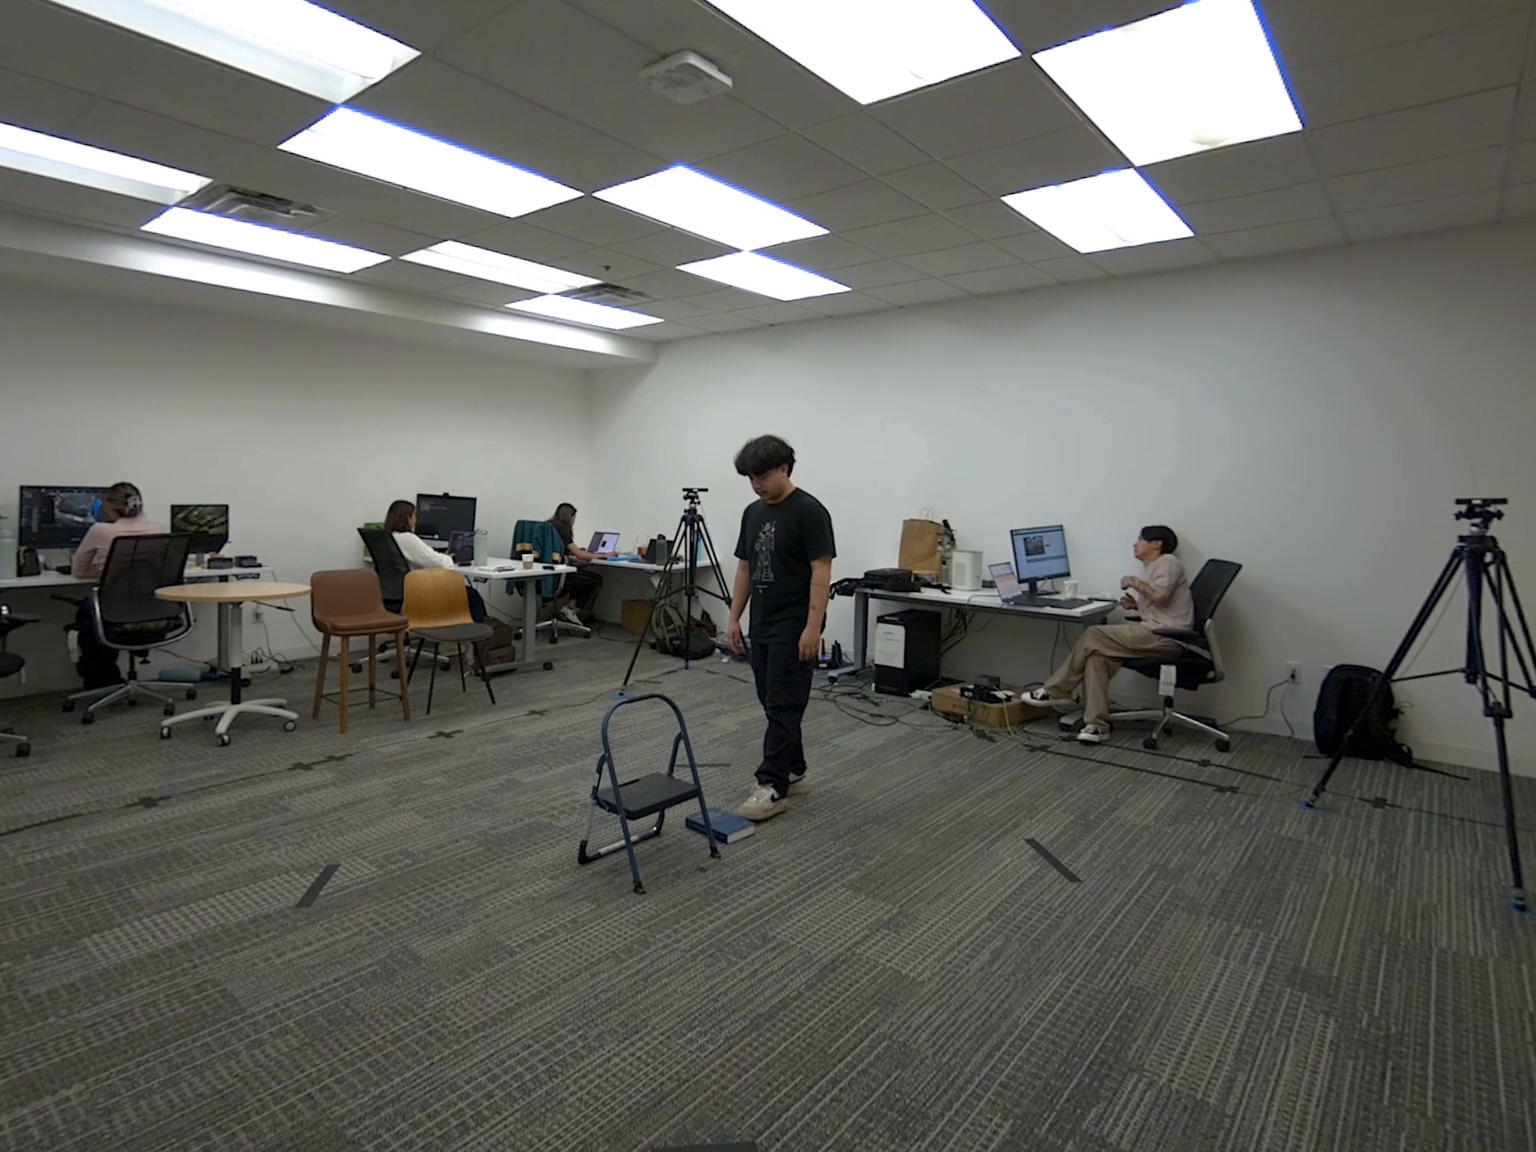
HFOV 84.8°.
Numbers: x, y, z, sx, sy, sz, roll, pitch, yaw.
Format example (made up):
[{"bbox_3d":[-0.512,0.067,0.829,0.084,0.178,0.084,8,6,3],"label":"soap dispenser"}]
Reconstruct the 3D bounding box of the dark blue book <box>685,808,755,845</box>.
[{"bbox_3d":[-0.205,1.014,3.470,0.253,0.045,0.158,6,8,42],"label":"dark blue book"}]
